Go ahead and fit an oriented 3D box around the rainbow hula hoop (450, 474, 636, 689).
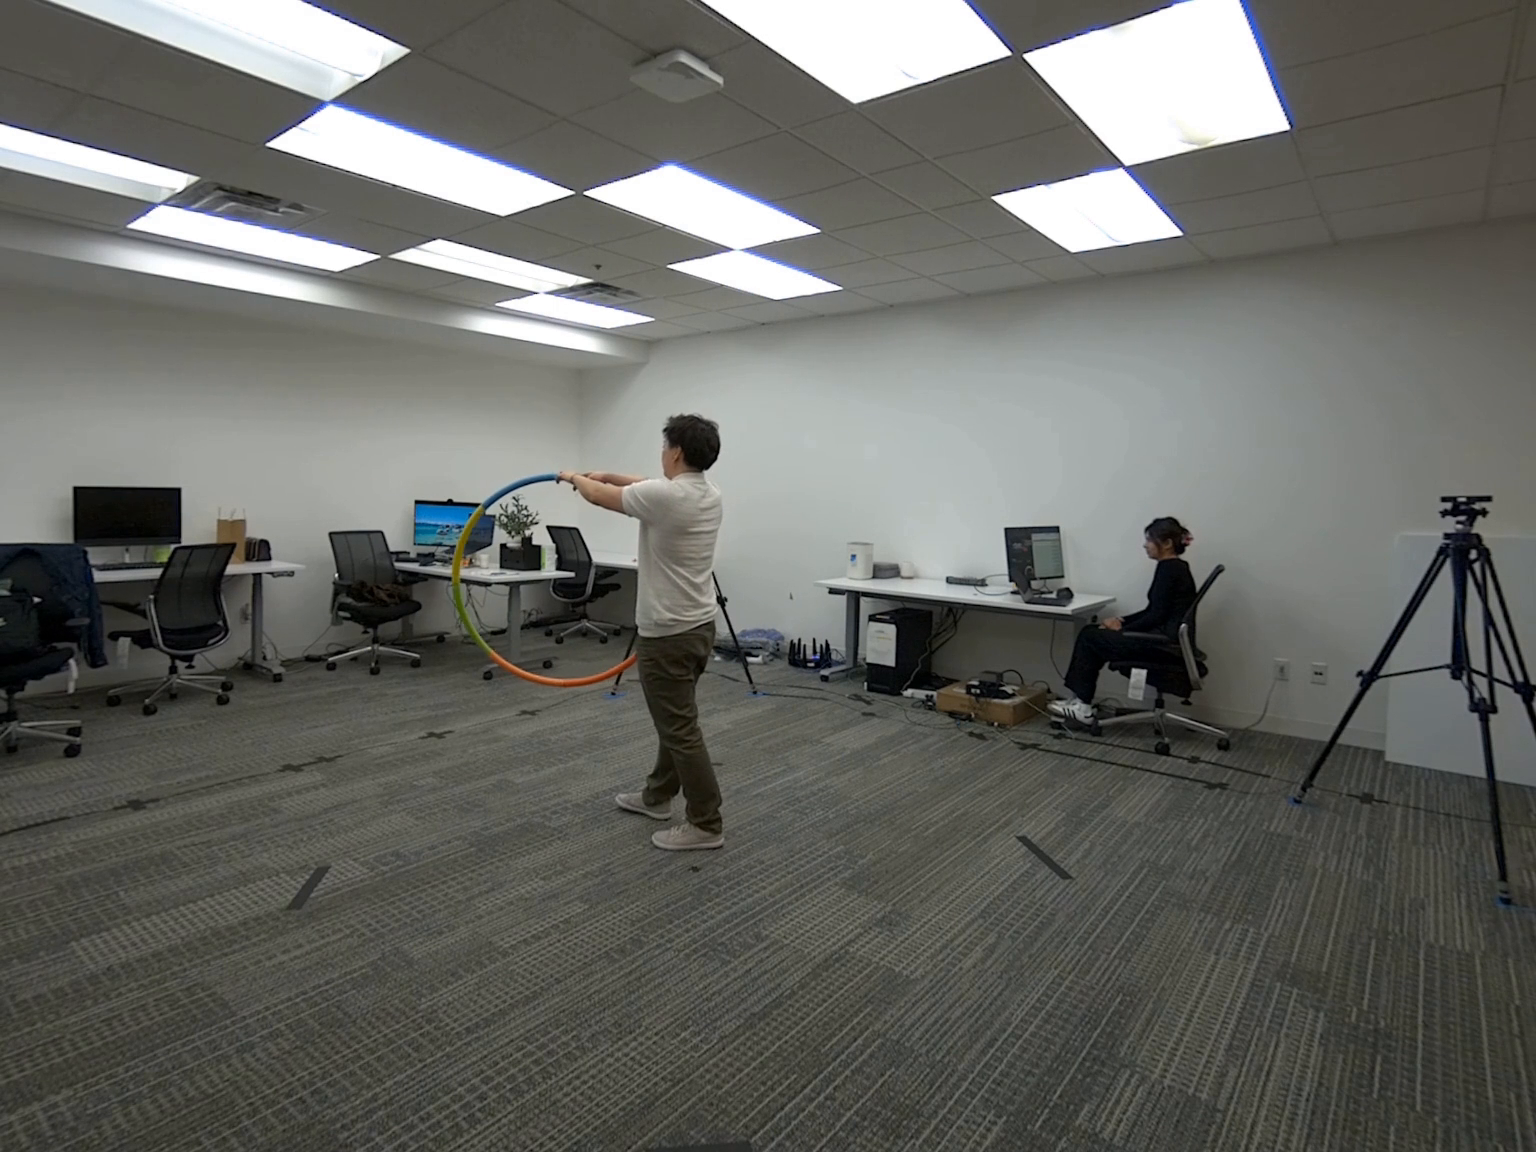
[{"bbox_3d":[-0.935,0.029,3.800,0.981,0.967,0.036,1,13,2],"label":"rainbow hula hoop"}]
